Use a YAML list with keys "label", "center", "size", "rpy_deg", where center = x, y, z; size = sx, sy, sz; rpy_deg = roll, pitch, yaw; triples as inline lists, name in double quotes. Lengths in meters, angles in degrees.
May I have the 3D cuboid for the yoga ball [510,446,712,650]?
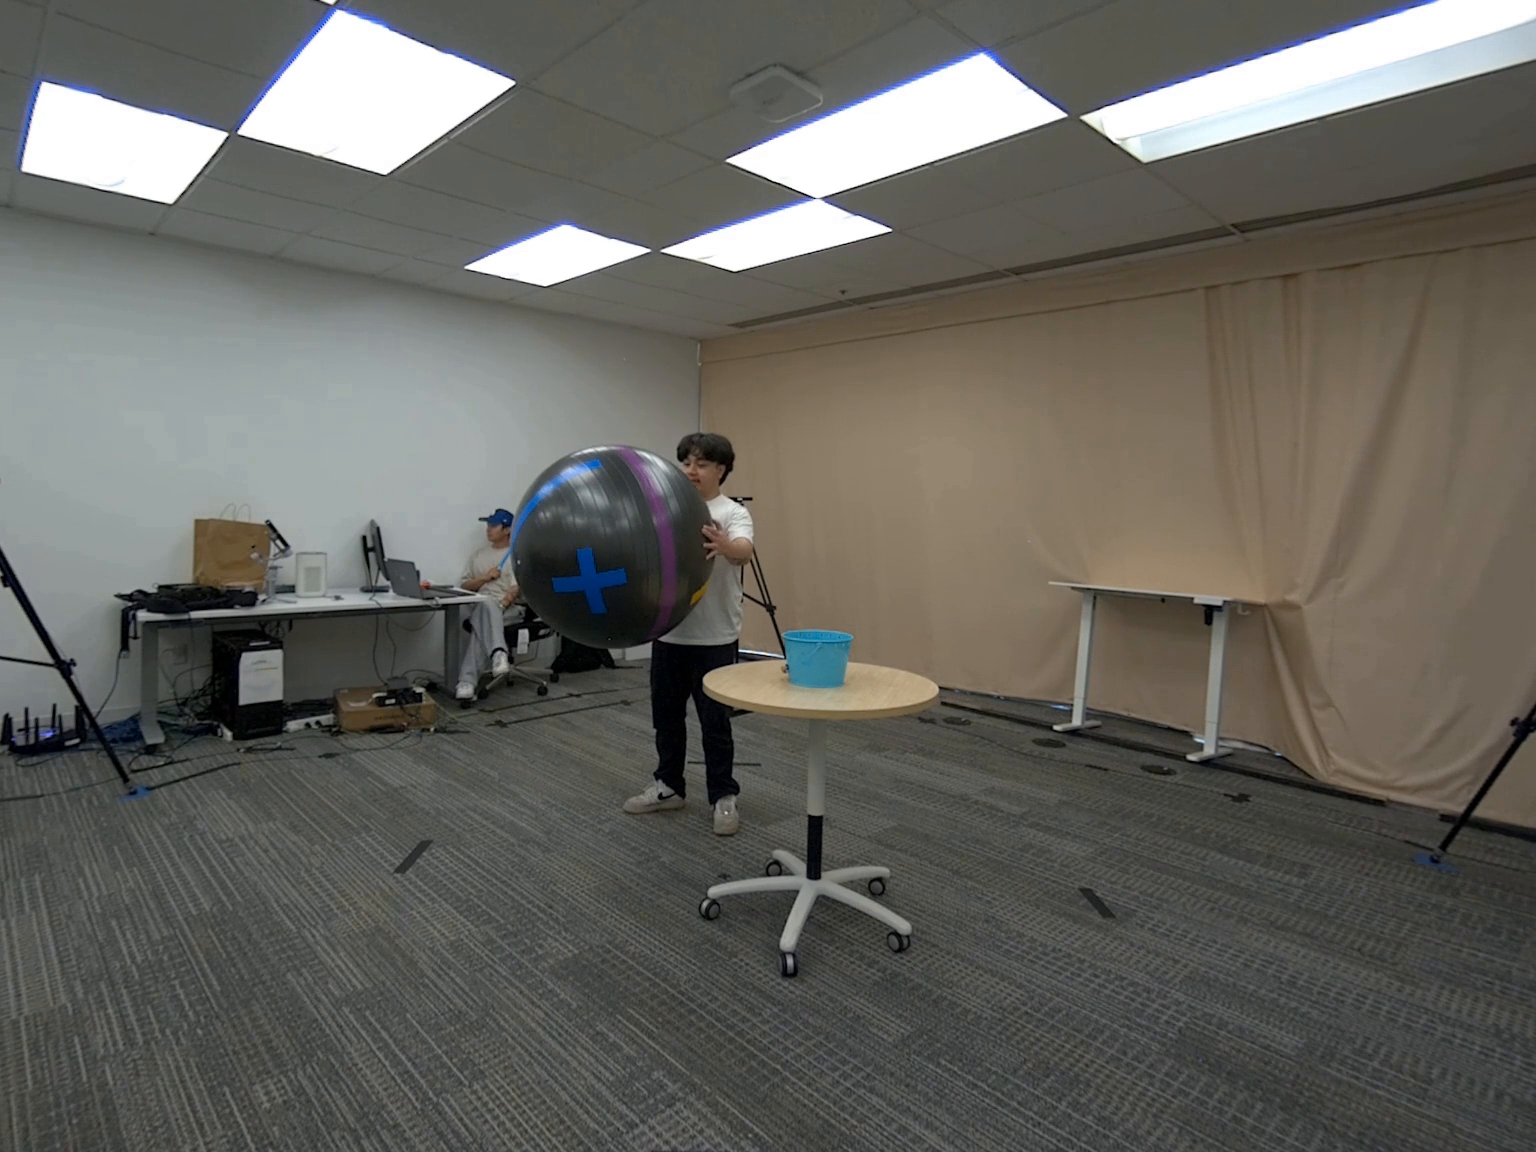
- label: "yoga ball"
  center: [-0.584, -0.105, 3.147]
  size: [0.757, 0.756, 0.761]
  rpy_deg: [1, 4, -1]
